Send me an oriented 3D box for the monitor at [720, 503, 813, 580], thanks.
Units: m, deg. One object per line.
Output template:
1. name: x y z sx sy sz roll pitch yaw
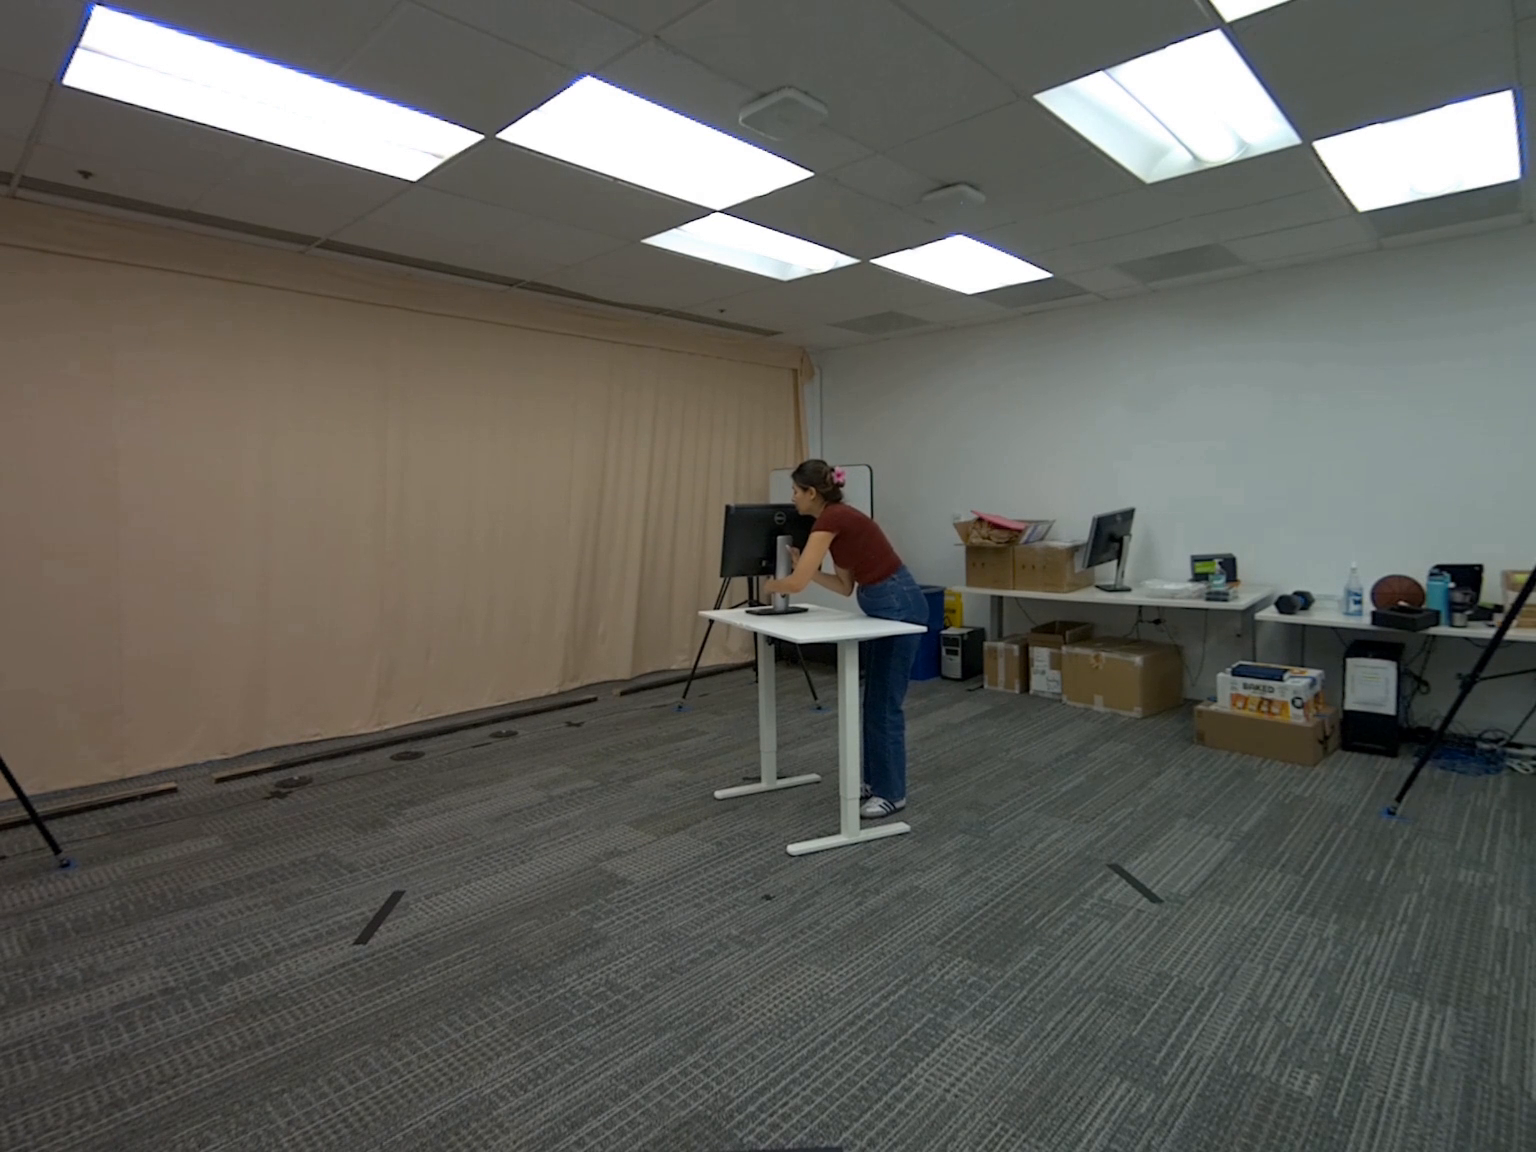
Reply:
1. monitor: 0.052 -0.078 3.980 0.527 0.521 0.192 -2 5 -23
